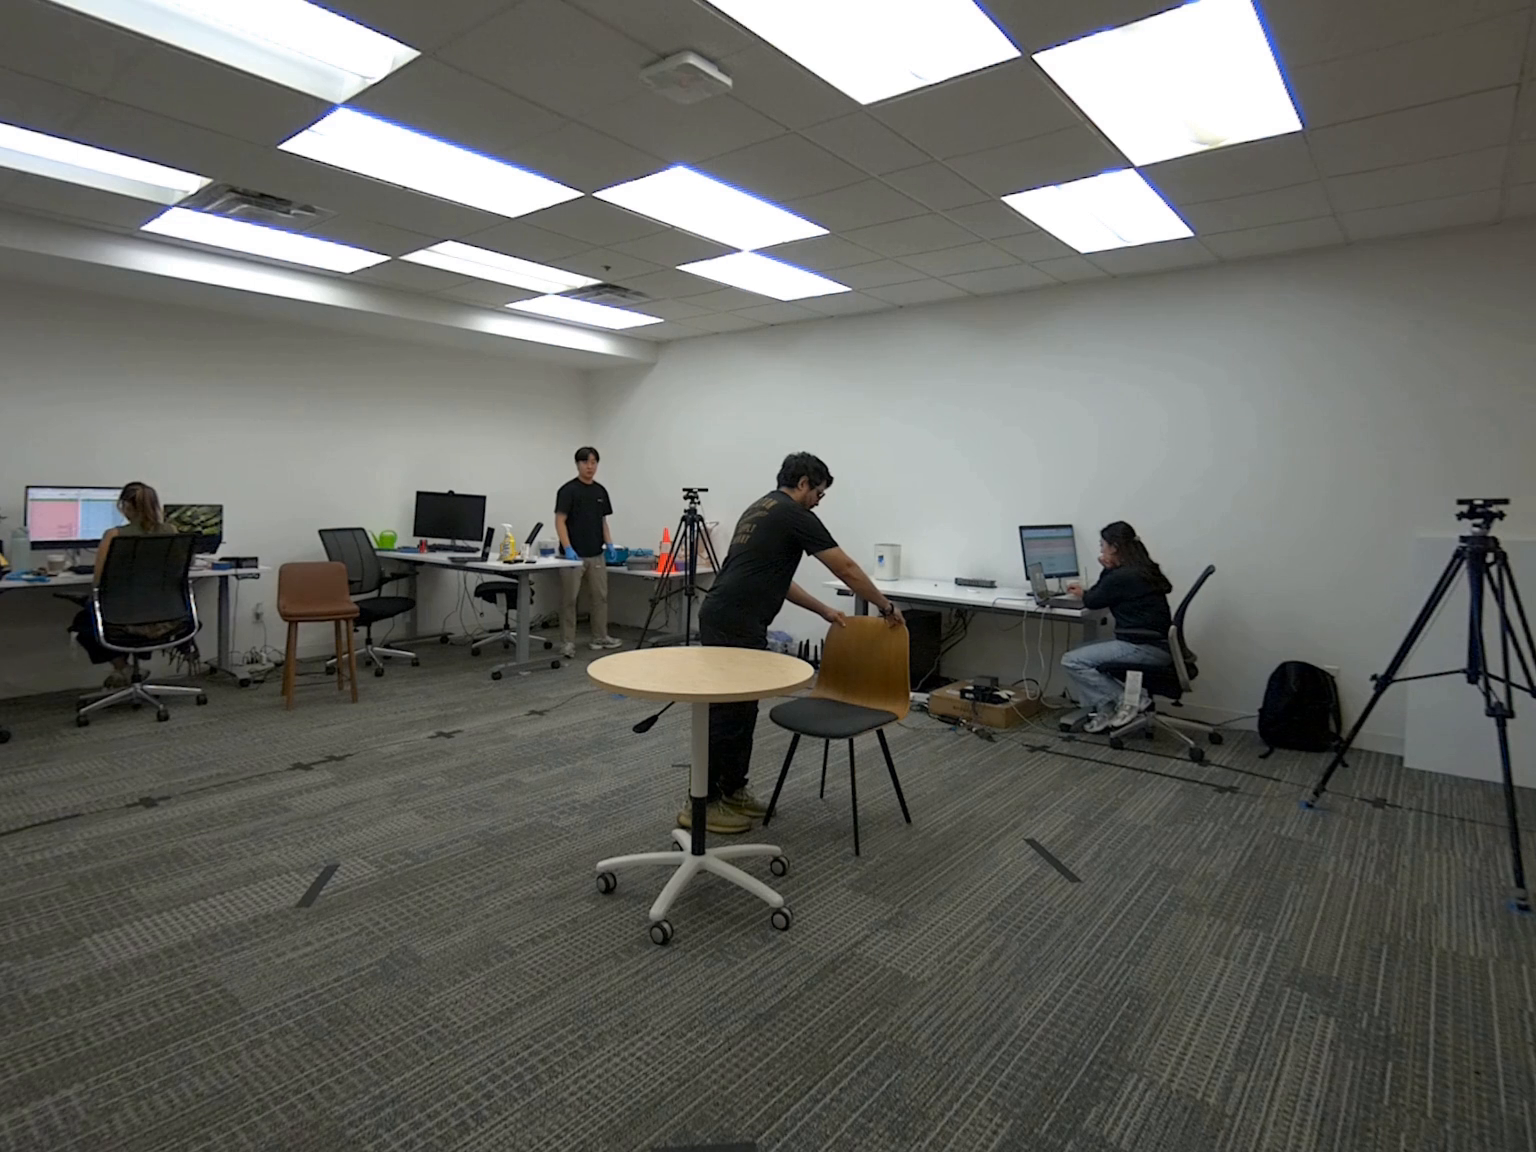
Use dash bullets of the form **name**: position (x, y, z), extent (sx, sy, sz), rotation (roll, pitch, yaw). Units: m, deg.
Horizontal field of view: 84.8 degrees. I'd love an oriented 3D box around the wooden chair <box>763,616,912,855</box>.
- **wooden chair**: position (0.293, 0.610, 3.527), extent (0.494, 0.877, 0.506), rotation (5, 0, 37)
